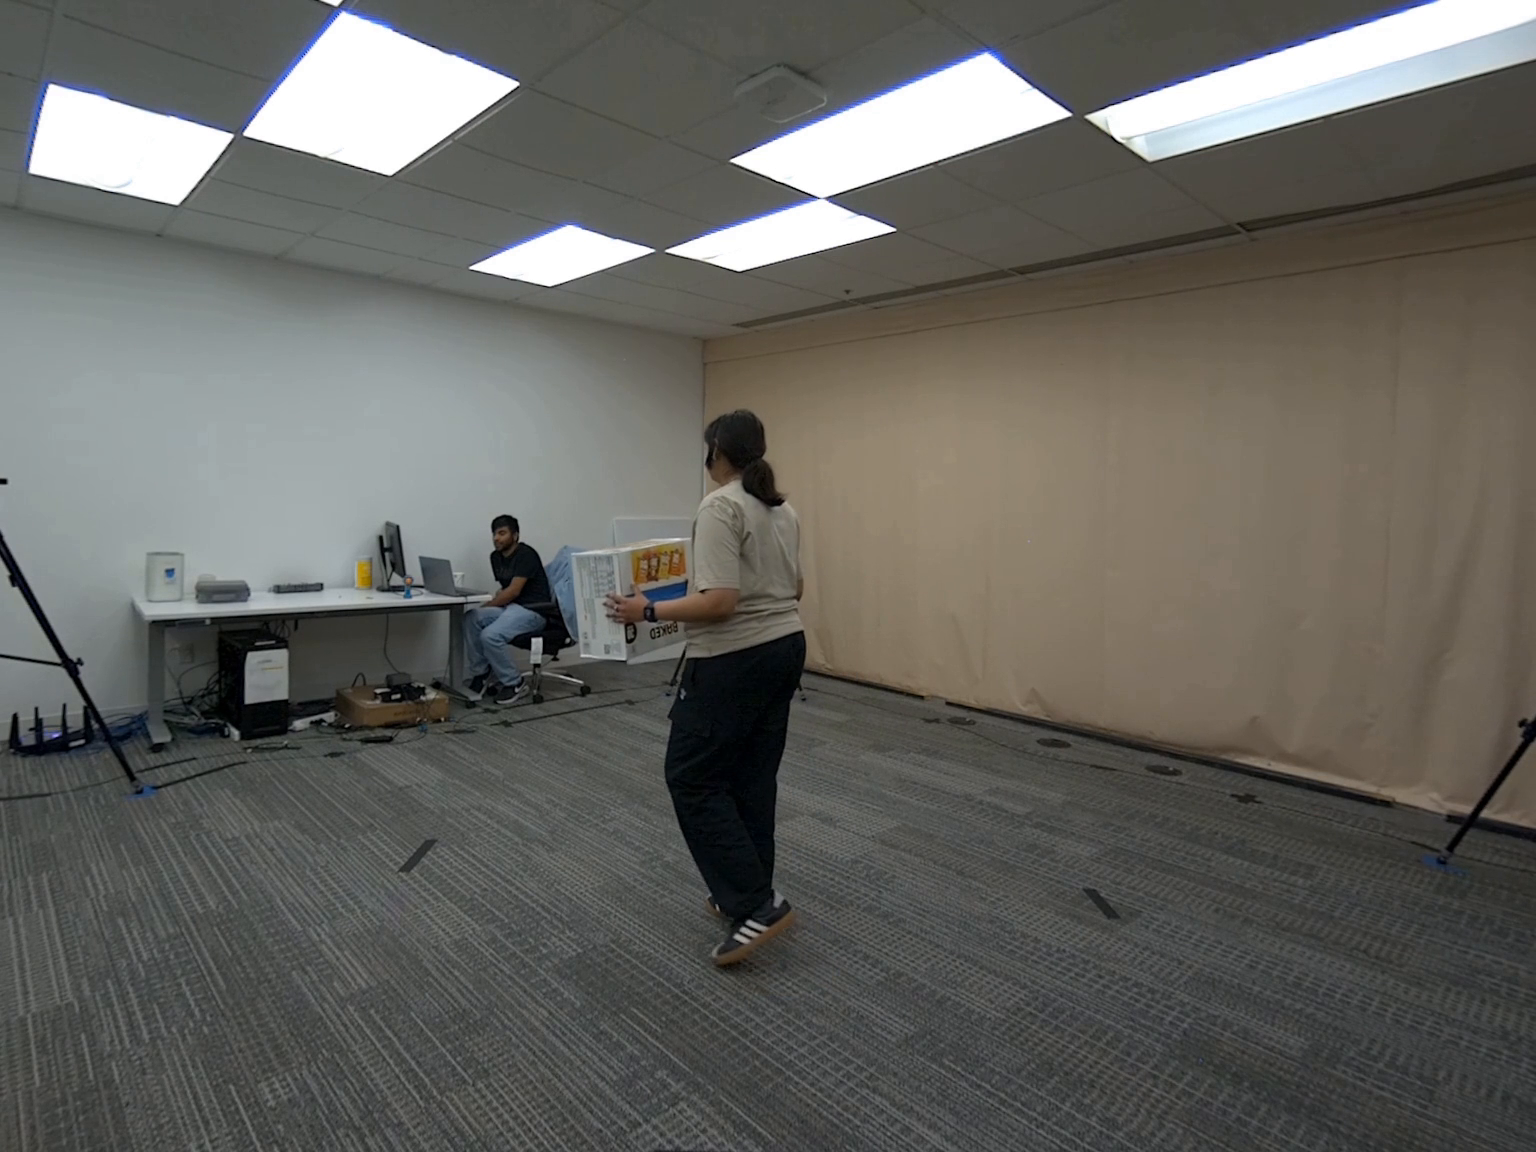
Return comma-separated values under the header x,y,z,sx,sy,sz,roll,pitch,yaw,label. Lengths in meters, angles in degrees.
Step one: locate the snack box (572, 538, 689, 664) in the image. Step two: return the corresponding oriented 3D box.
x,y,z,sx,sy,sz,roll,pitch,yaw,label
-0.433,0.068,2.813,0.210,0.339,0.398,-2,6,33,snack box
